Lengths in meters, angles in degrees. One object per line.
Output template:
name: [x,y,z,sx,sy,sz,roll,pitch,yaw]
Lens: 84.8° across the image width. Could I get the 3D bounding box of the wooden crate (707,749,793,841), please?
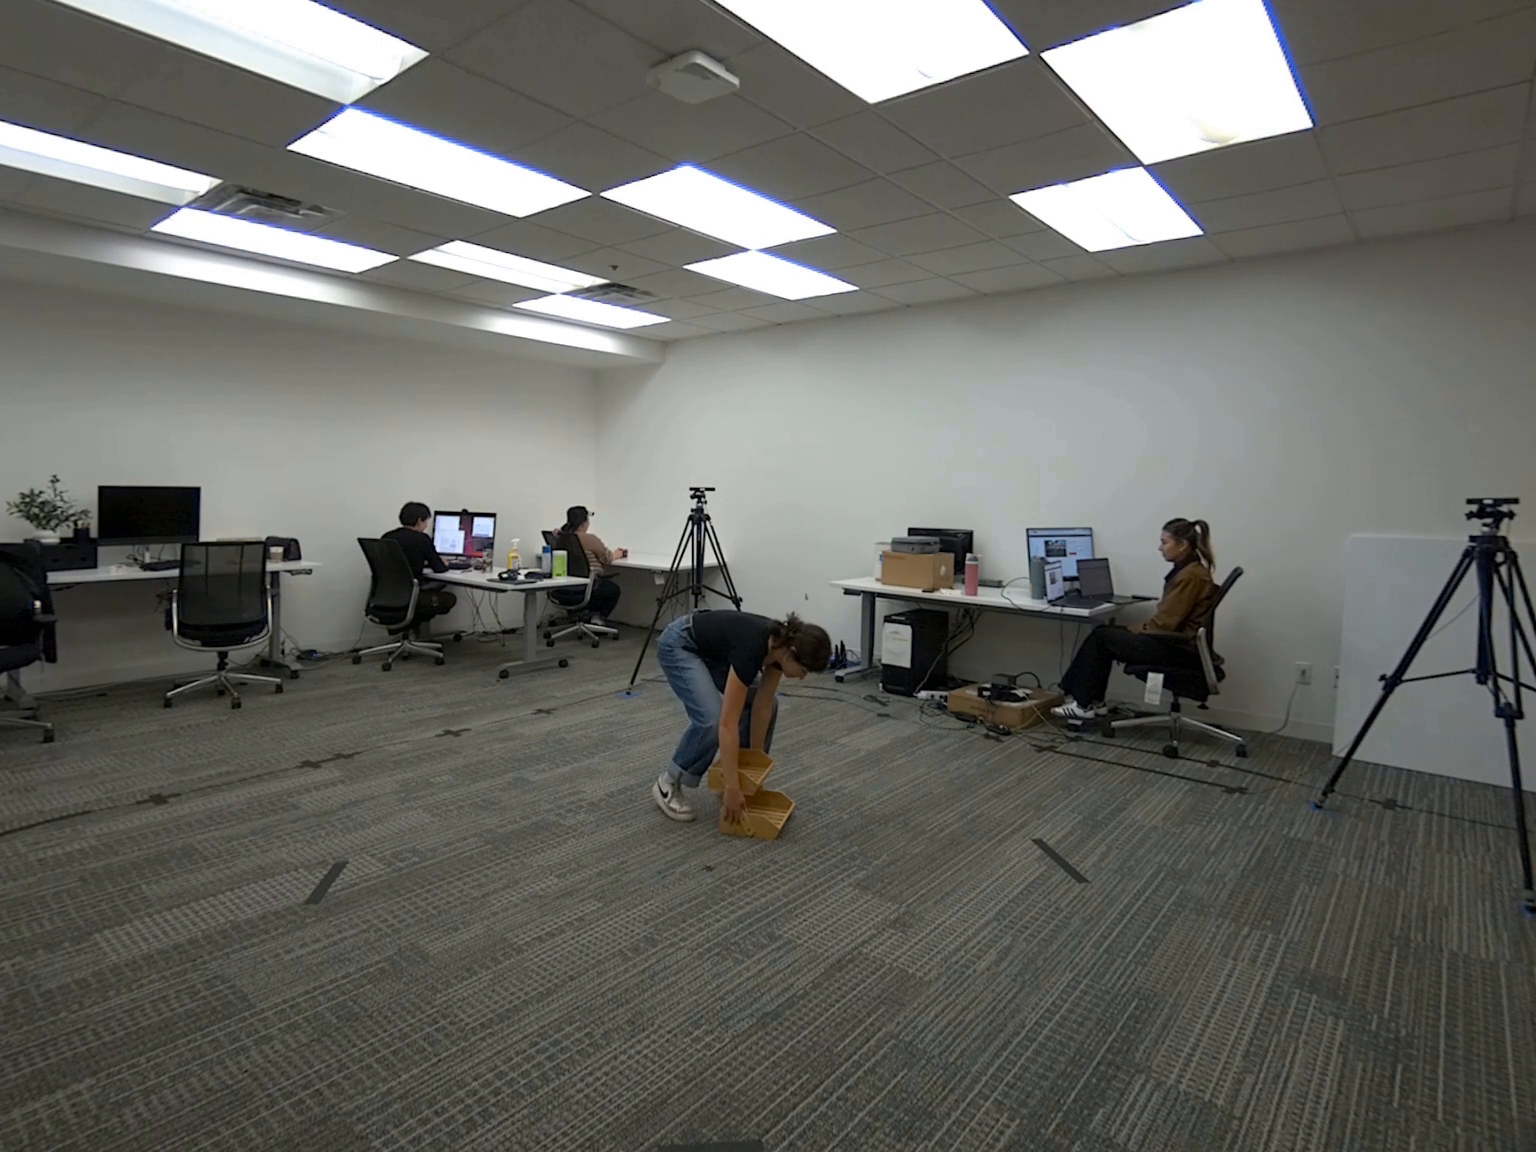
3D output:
wooden crate: [-0.067,0.898,3.546,0.307,0.272,0.320,2,5,15]
